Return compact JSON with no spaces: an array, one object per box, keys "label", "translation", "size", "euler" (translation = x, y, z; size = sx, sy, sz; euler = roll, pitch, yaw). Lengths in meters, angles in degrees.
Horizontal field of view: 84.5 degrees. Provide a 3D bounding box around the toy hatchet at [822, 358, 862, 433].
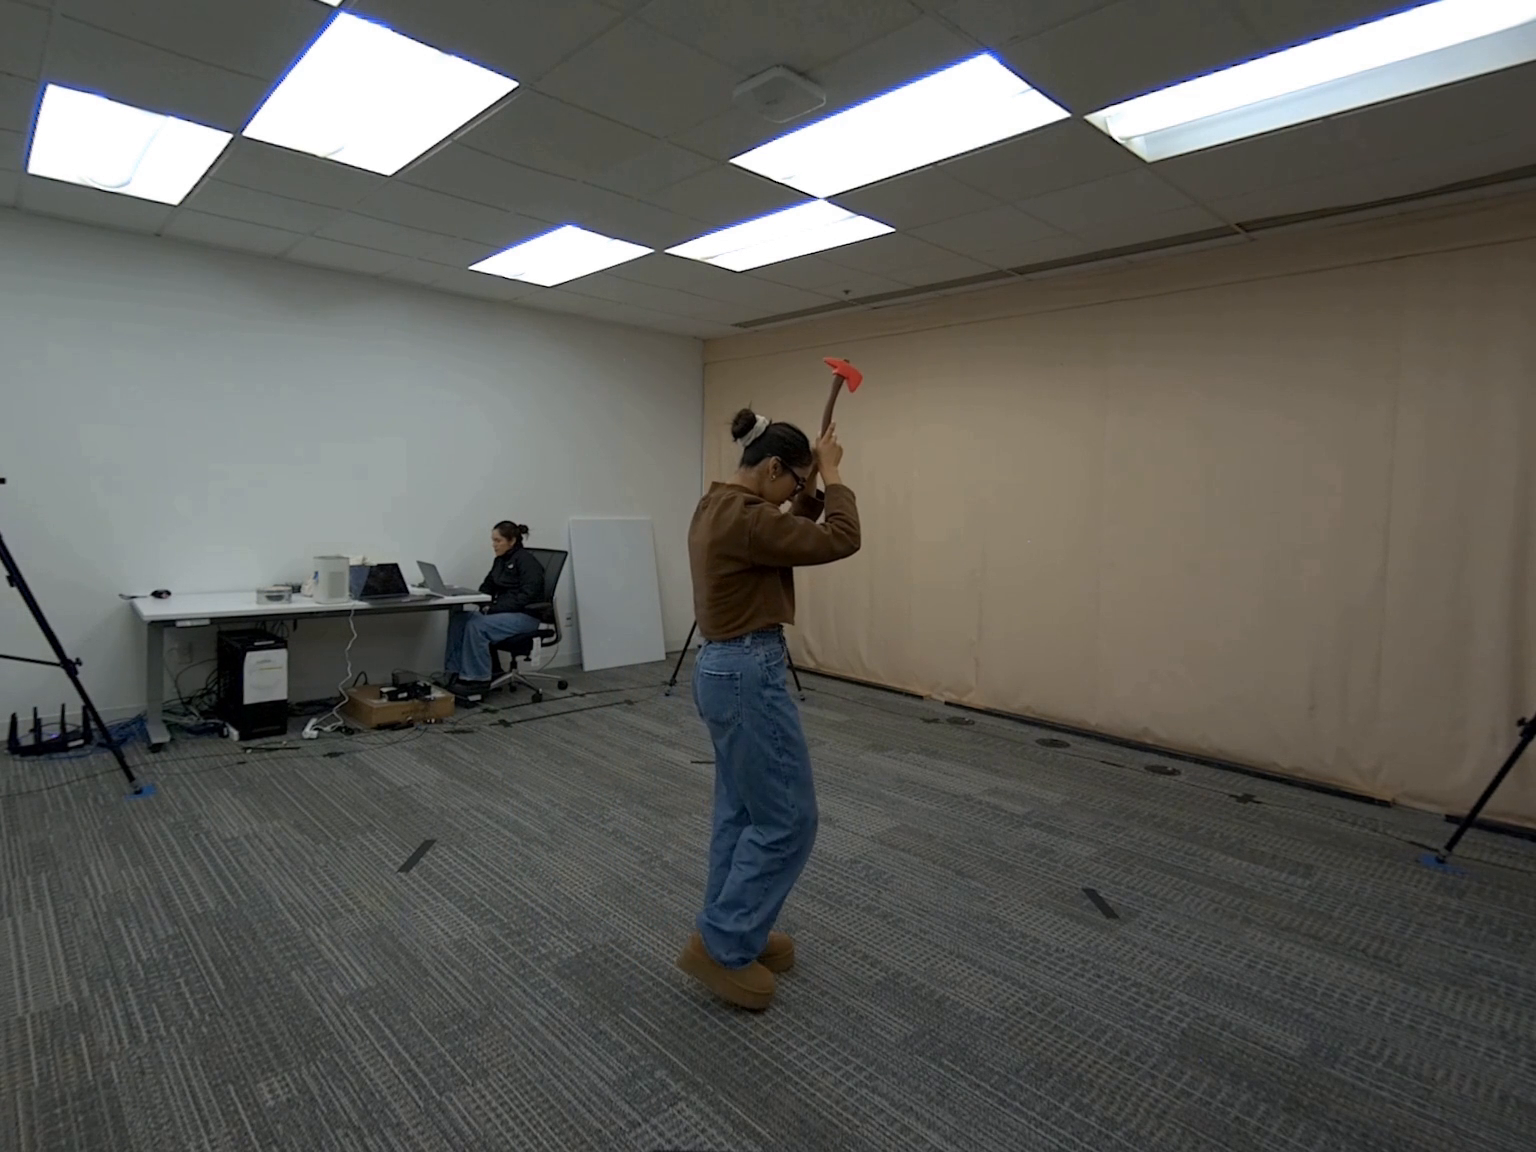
[{"label":"toy hatchet","translation":[0.207,-0.494,2.428],"size":[0.129,0.270,0.030],"euler":[1,2,-24]}]
